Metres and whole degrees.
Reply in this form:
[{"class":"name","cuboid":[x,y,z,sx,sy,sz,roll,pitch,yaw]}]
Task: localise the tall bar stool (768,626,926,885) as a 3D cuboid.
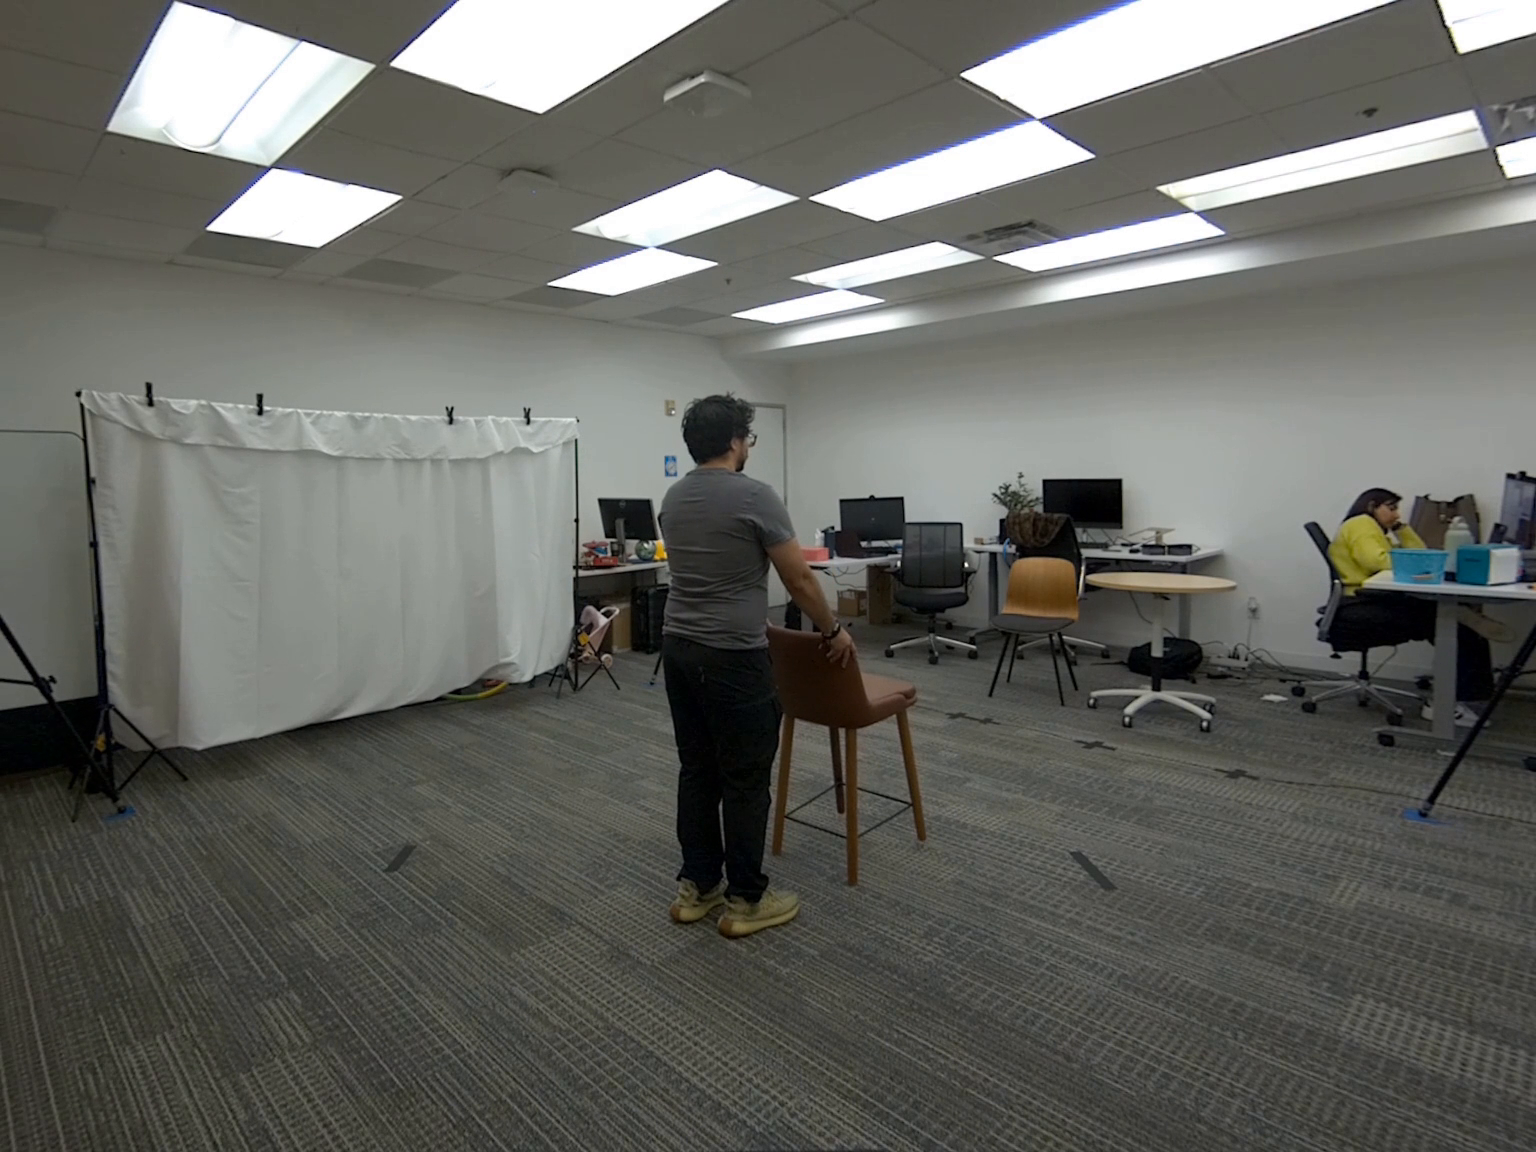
[{"class":"tall bar stool","cuboid":[0.274,0.584,3.152,0.470,0.883,0.457,3,11,44]}]
